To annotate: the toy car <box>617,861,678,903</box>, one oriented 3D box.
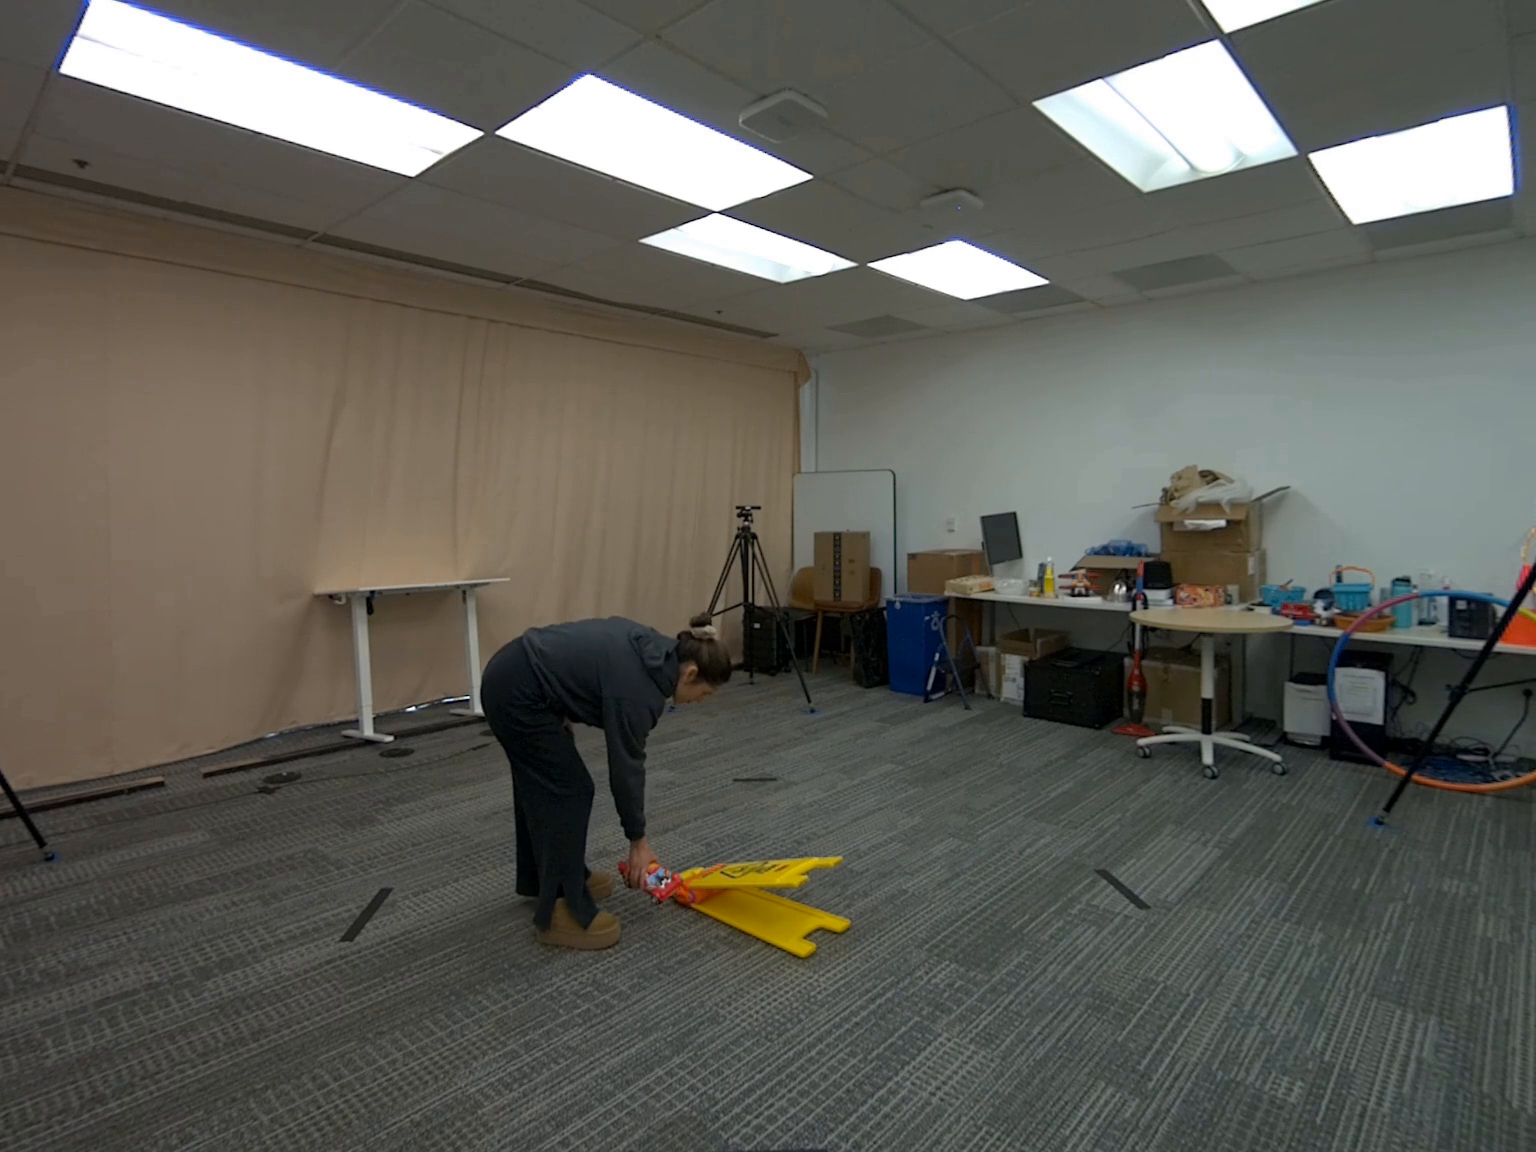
[{"bbox_3d":[-0.386,1.018,2.830,0.264,0.082,0.128,20,38,39],"label":"toy car"}]
